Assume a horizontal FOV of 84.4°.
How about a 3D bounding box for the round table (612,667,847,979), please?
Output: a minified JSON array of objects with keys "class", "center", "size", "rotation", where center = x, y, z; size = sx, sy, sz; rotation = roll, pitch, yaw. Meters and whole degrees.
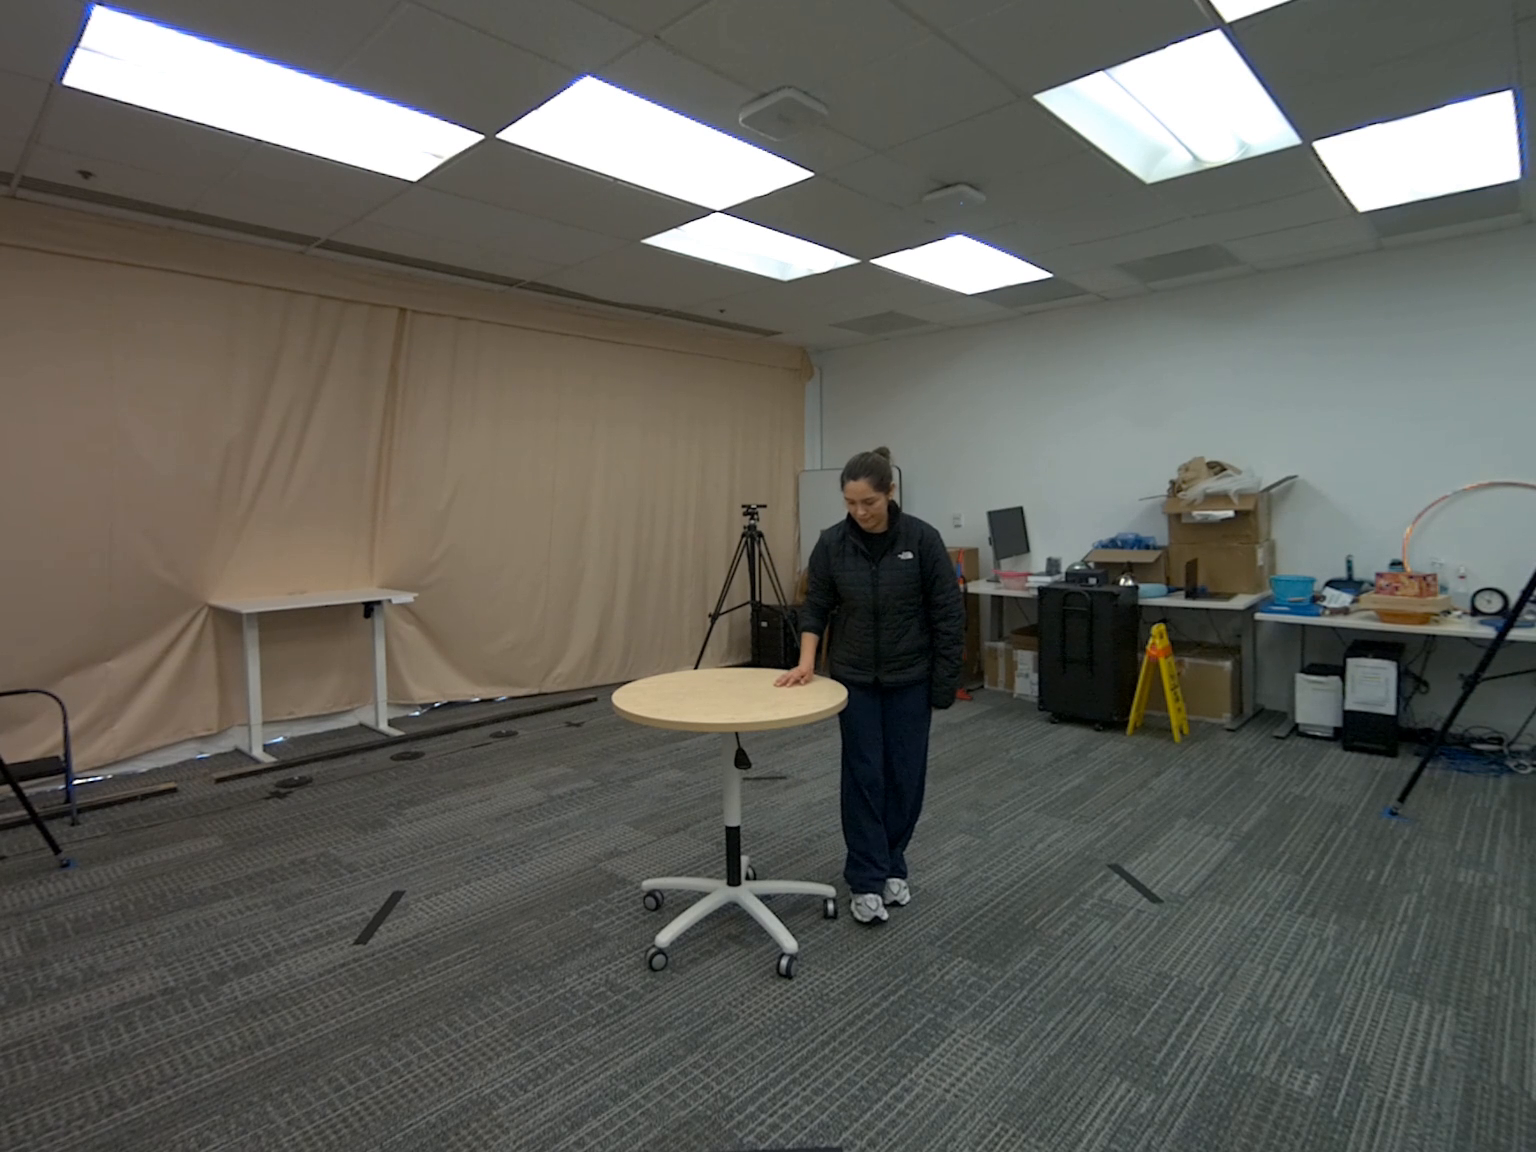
[{"class":"round table","center":[-0.113,0.767,2.781],"size":[0.784,0.784,0.788],"rotation":[-1,4,-2]}]
